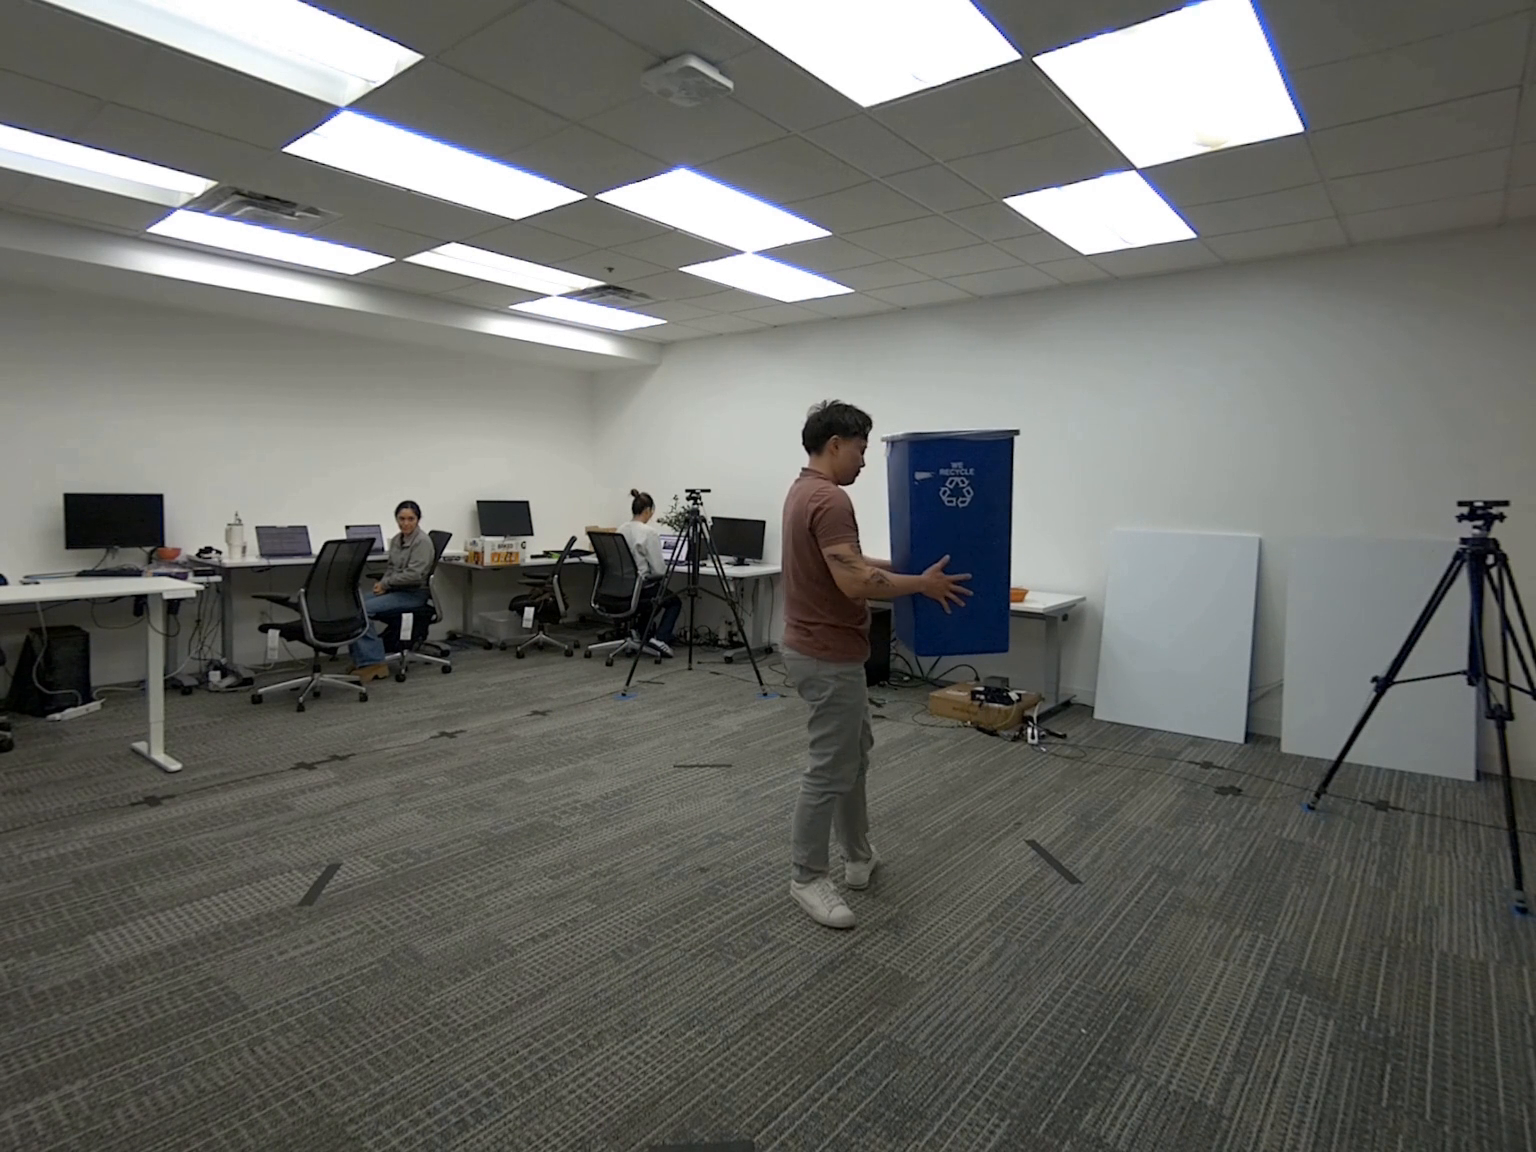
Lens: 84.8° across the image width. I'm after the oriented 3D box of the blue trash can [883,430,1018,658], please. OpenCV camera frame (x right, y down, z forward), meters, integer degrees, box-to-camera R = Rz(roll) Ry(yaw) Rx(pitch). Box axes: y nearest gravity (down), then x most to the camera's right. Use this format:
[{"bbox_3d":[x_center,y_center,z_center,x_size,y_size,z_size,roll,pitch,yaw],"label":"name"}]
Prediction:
[{"bbox_3d":[0.598,-0.128,2.829,0.373,0.709,0.382,-3,6,-4],"label":"blue trash can"}]
